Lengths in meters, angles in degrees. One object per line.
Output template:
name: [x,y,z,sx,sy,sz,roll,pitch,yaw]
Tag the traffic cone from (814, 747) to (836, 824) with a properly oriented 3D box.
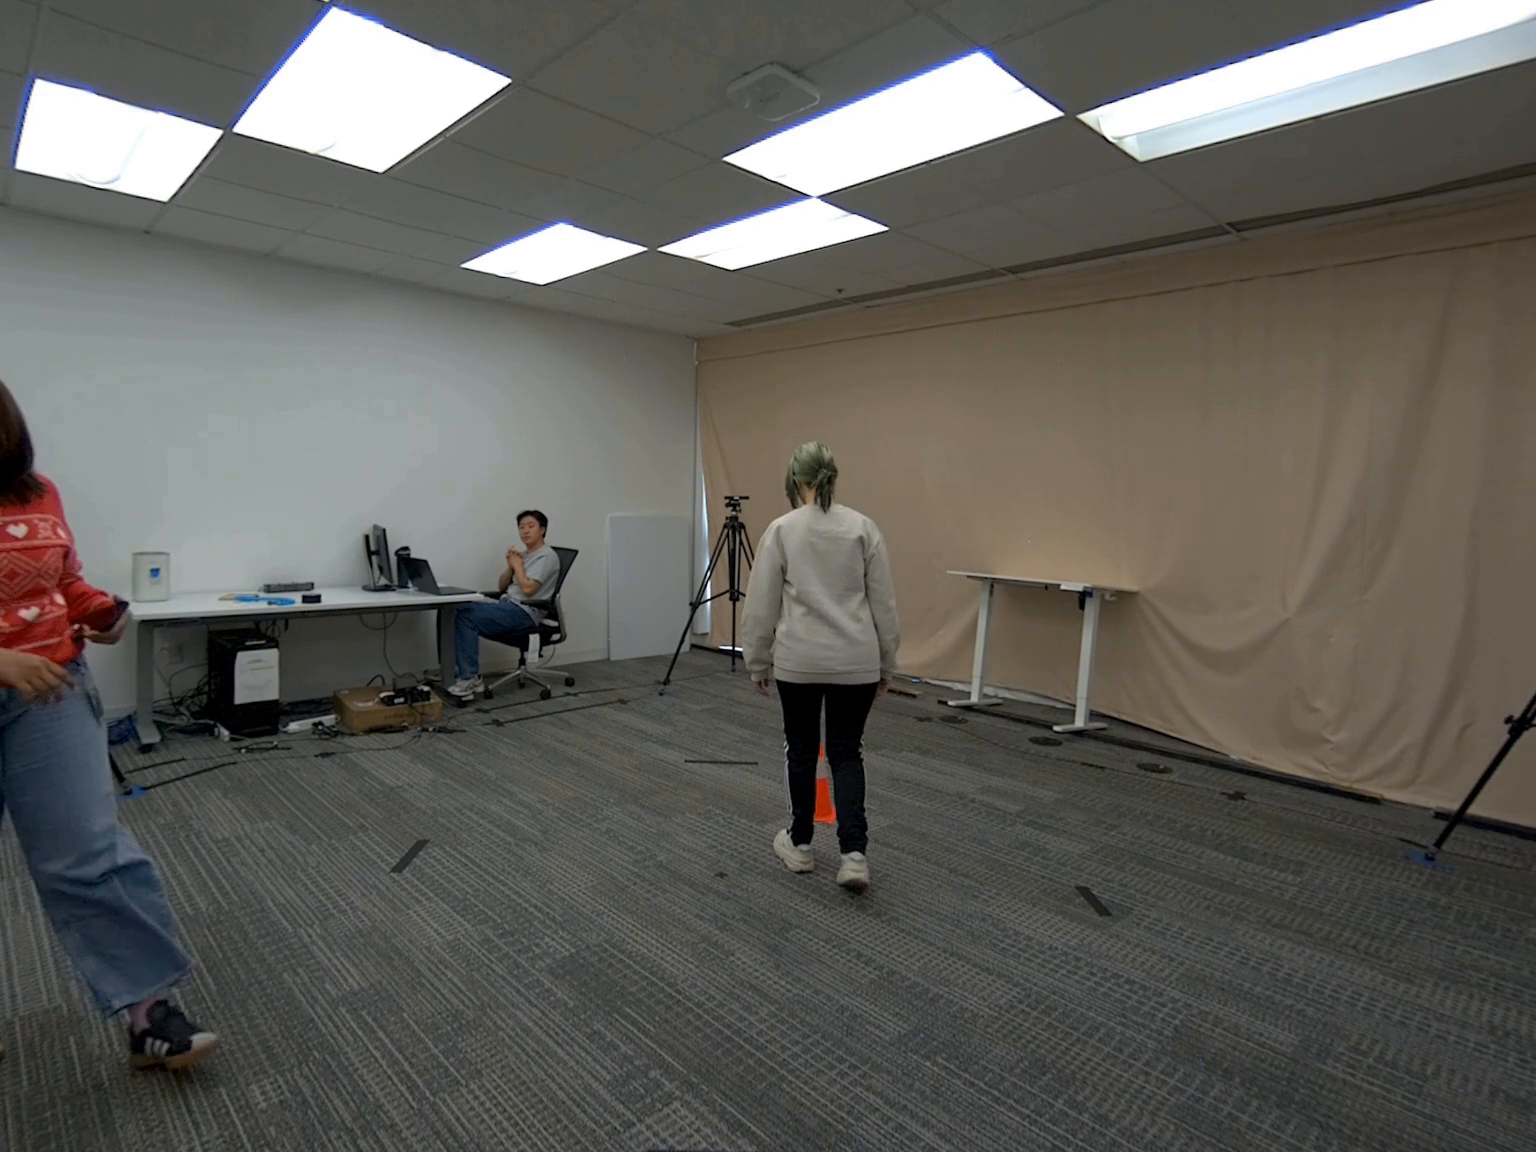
traffic cone: [0.207,0.879,3.773,0.206,0.383,0.202,2,1,16]
